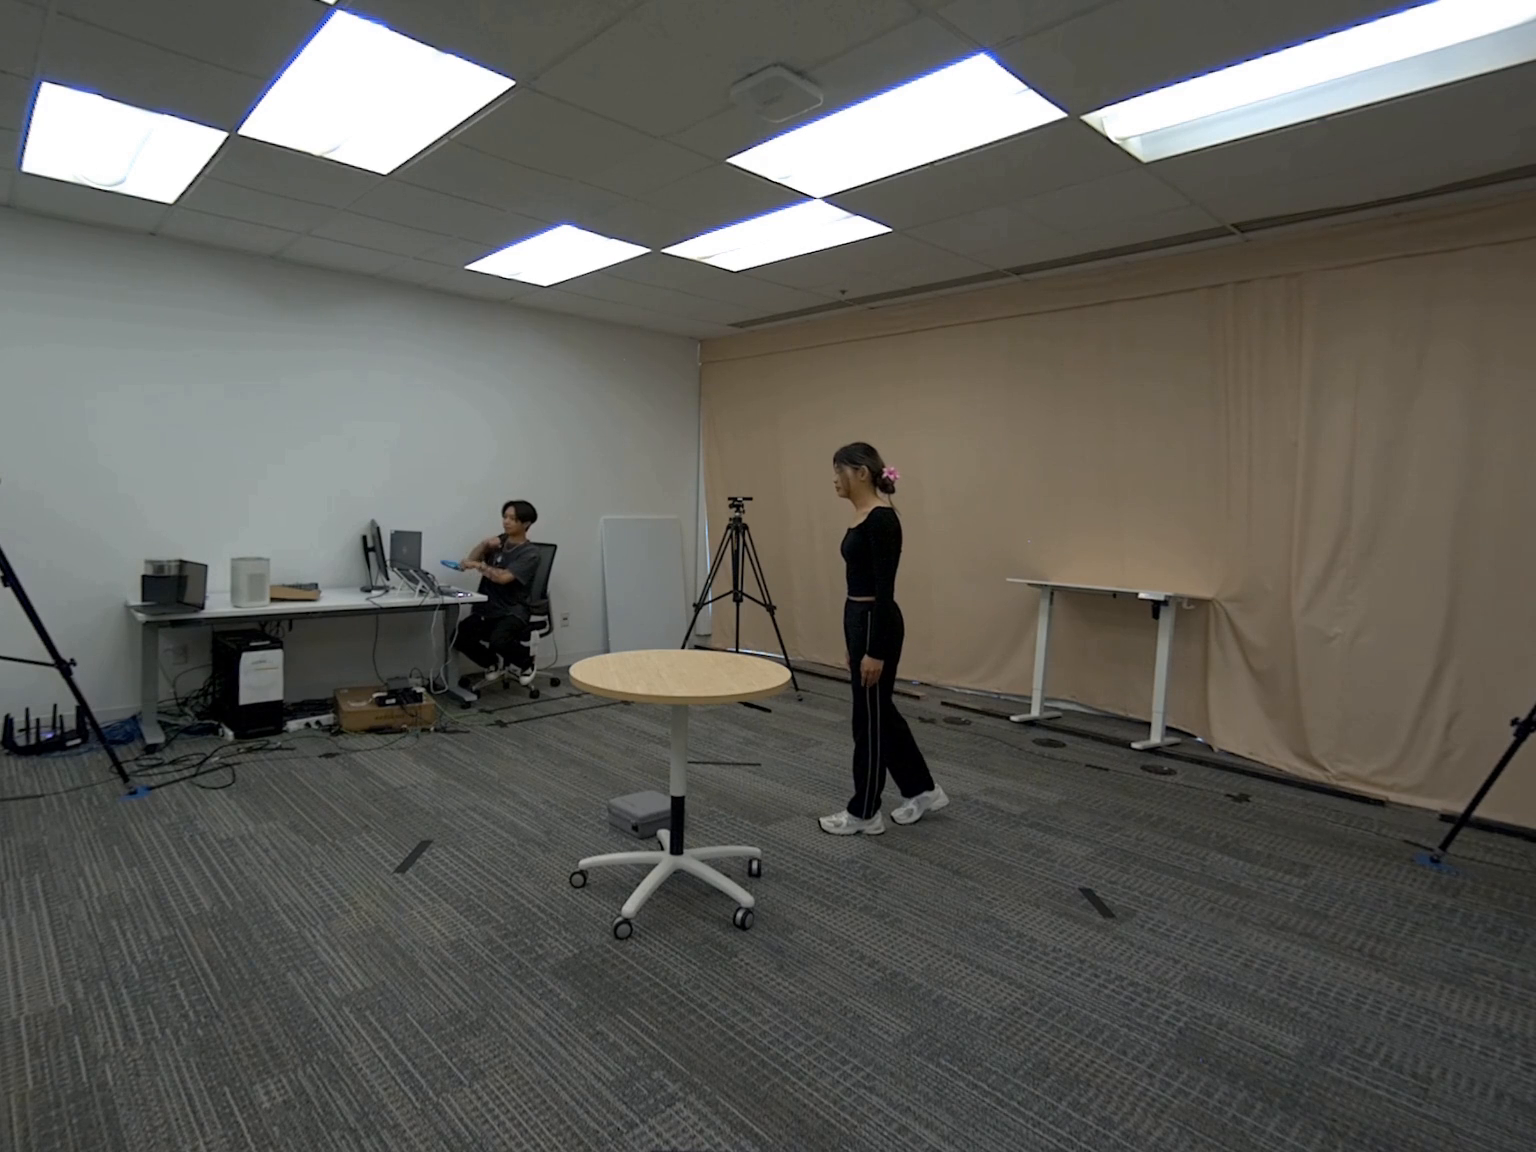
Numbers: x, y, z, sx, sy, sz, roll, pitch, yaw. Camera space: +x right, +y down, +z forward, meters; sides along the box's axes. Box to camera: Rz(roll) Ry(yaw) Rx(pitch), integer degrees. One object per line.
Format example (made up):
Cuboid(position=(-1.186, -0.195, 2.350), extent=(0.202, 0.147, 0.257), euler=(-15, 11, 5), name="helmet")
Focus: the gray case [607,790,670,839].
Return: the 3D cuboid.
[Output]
Cuboid(position=(-0.524, 1.000, 3.572), extent=(0.254, 0.104, 0.263), euler=(-2, 5, -43), name="gray case")
